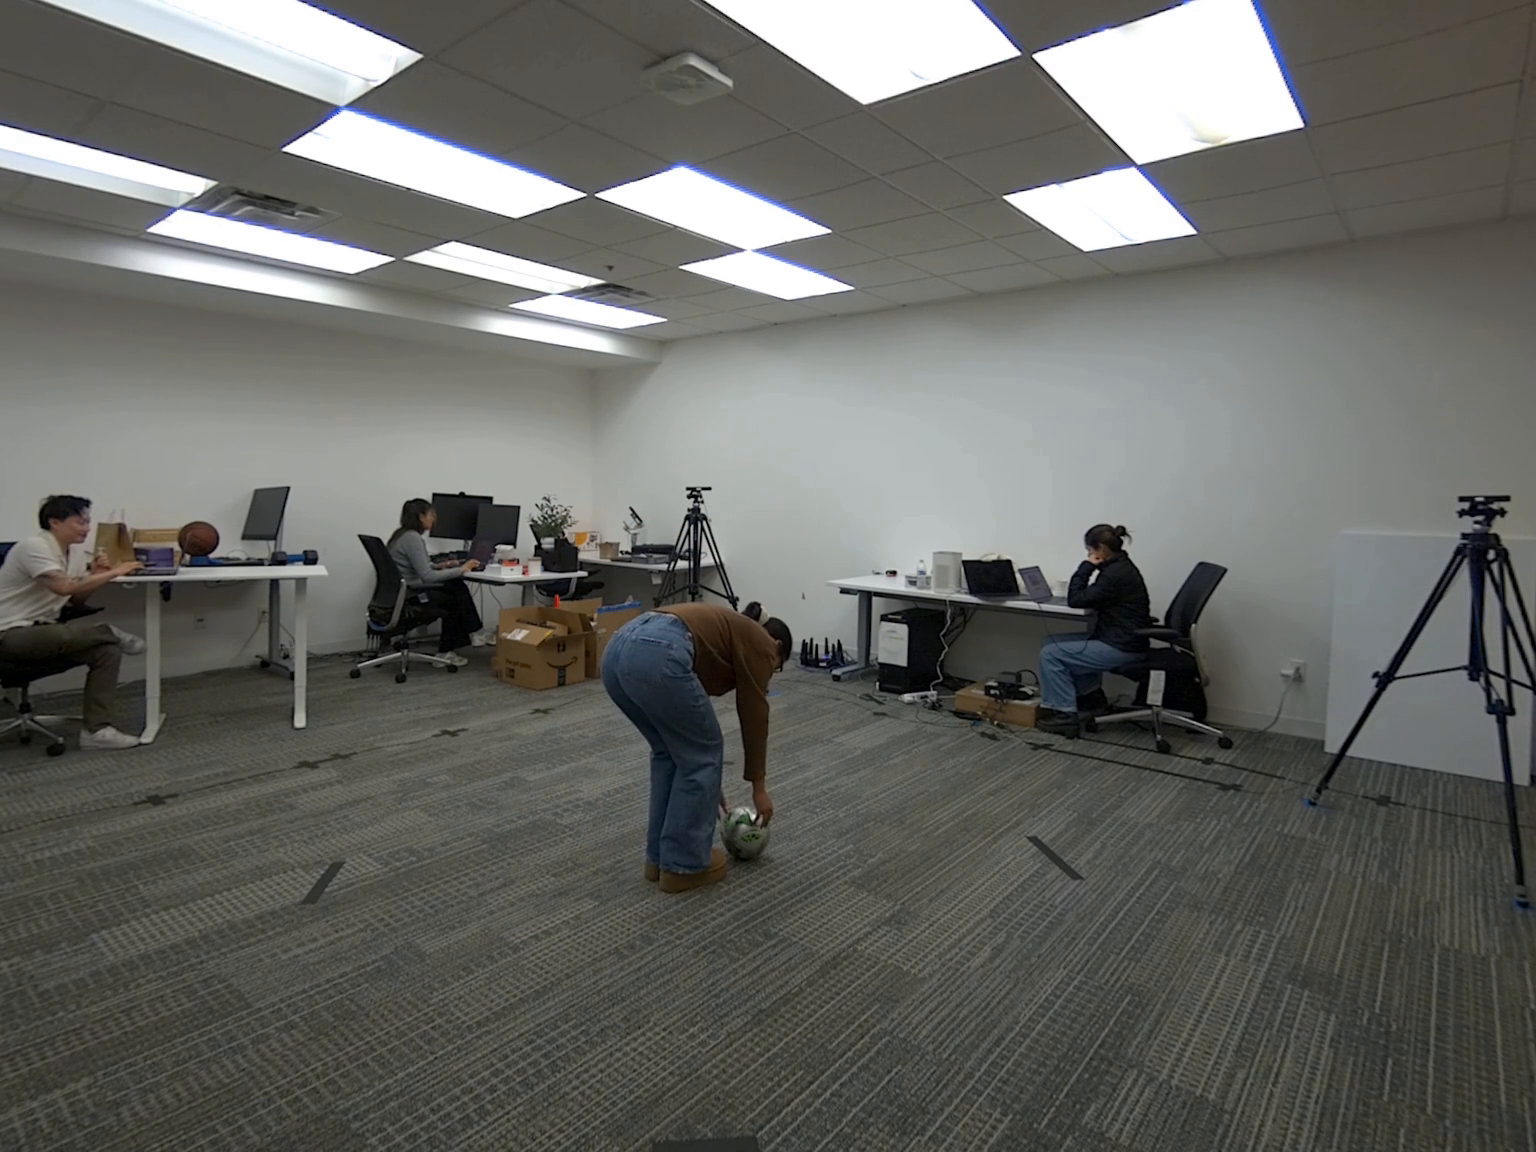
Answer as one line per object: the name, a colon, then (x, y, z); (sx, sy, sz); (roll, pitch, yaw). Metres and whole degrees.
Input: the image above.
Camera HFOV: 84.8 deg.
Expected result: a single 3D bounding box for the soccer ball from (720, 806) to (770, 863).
soccer ball: (-0.096, 0.964, 3.204); (0.187, 0.187, 0.188); (1, 4, -2)
